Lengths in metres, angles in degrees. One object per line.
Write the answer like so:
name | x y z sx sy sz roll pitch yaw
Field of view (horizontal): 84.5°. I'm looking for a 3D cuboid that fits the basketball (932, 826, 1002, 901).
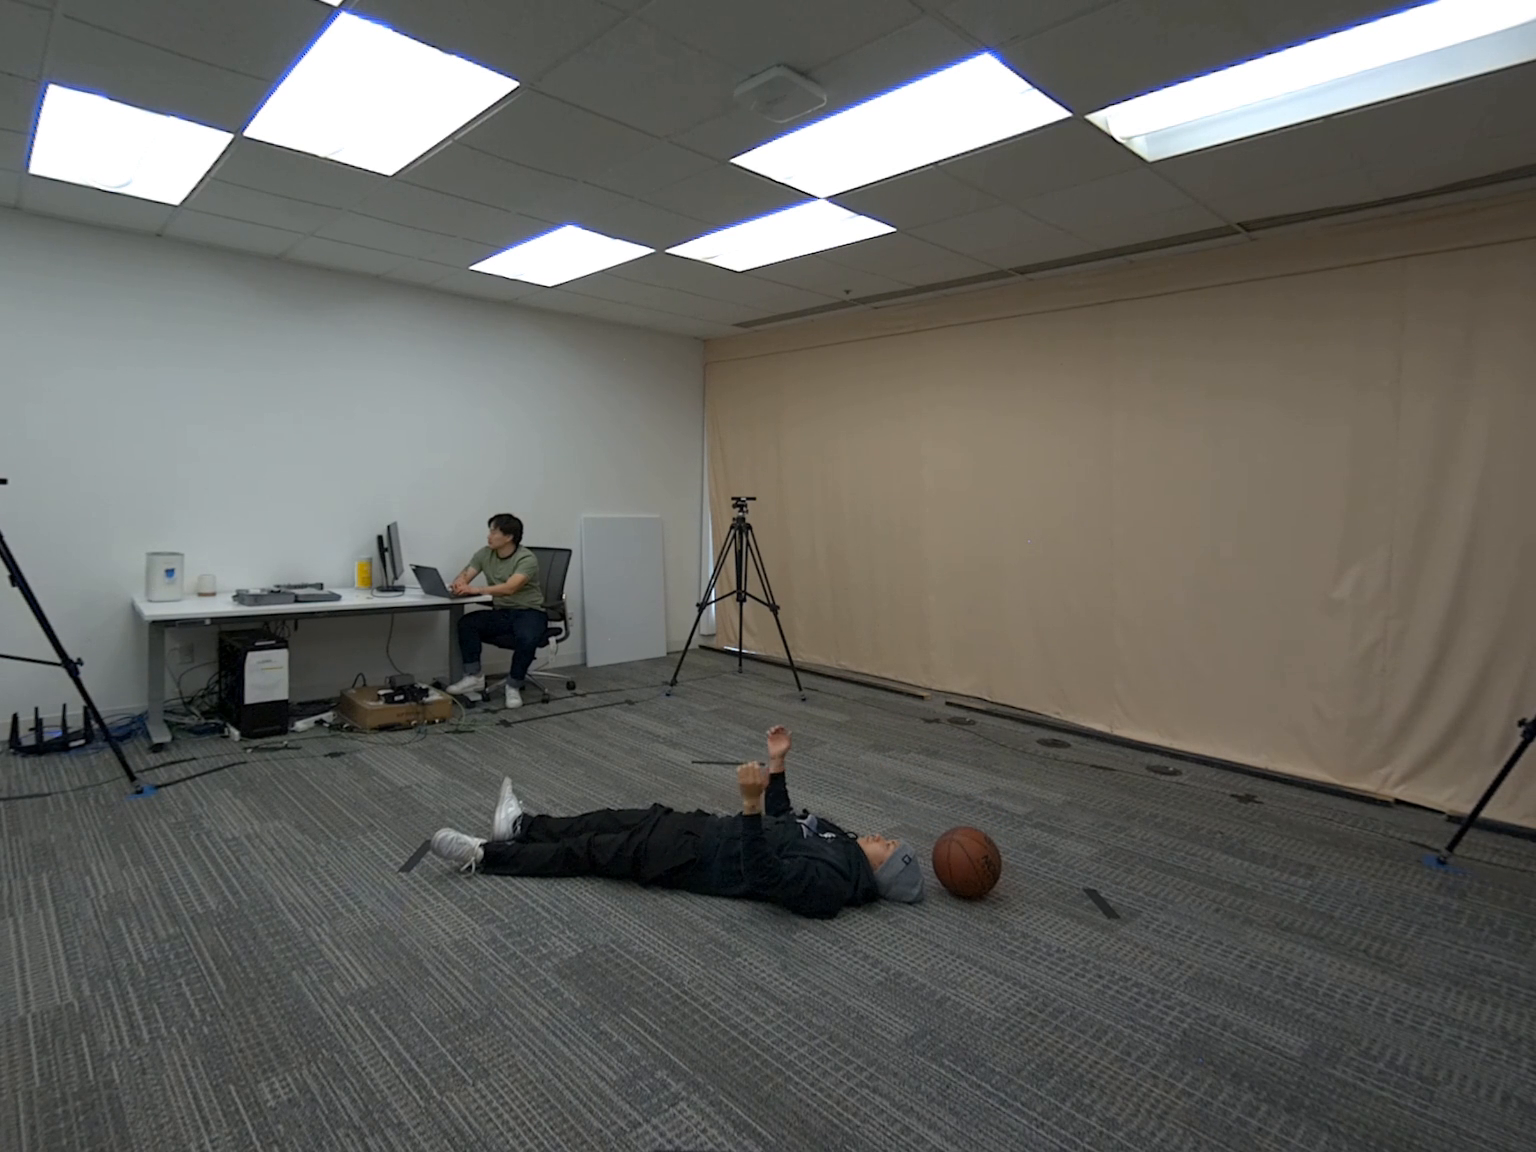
basketball | 0.703 1.019 3.003 0.236 0.235 0.237 1 4 -1
